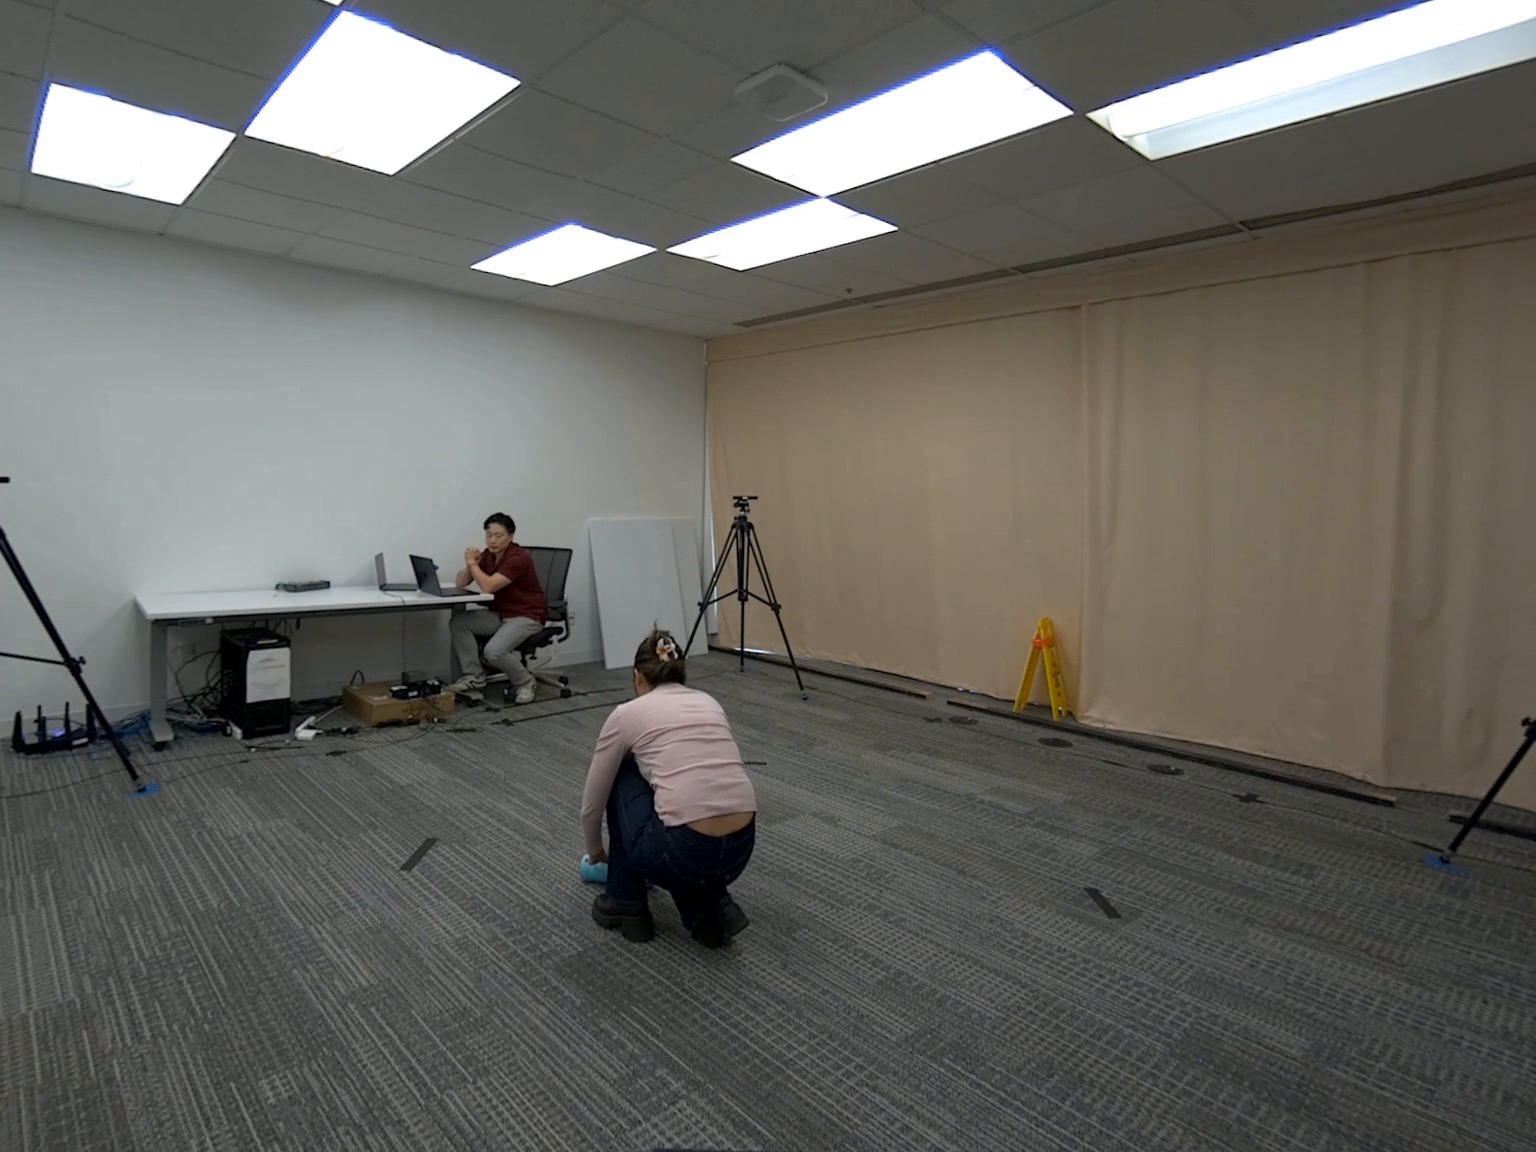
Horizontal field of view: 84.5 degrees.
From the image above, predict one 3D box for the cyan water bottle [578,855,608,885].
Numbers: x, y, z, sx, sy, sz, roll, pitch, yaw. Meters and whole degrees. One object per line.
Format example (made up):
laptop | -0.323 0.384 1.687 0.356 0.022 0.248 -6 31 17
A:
cyan water bottle | -0.534 1.065 3.002 0.286 0.092 0.091 4 5 13
